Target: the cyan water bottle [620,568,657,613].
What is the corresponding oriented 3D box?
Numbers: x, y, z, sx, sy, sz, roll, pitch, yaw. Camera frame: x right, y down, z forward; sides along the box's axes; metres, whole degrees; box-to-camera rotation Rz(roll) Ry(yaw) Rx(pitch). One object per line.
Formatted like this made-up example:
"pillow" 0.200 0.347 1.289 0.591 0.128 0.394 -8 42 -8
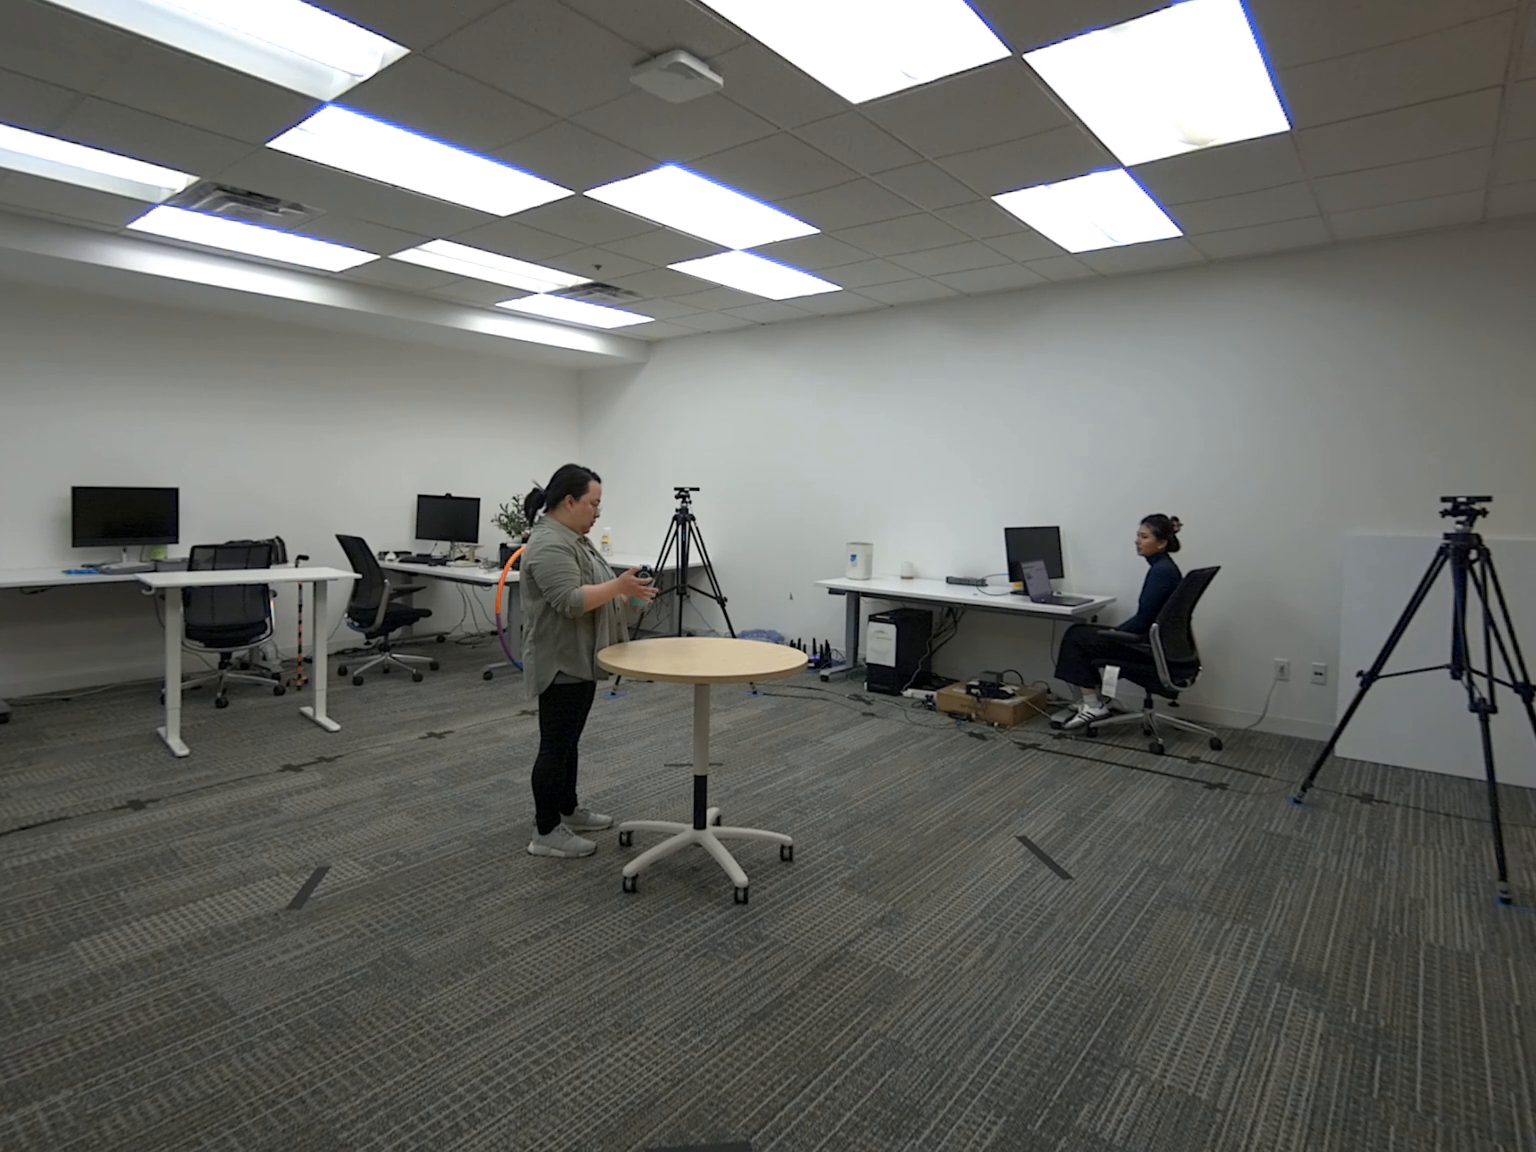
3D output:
"cyan water bottle" -0.510 0.042 3.320 0.091 0.094 0.279 1 -24 -9
